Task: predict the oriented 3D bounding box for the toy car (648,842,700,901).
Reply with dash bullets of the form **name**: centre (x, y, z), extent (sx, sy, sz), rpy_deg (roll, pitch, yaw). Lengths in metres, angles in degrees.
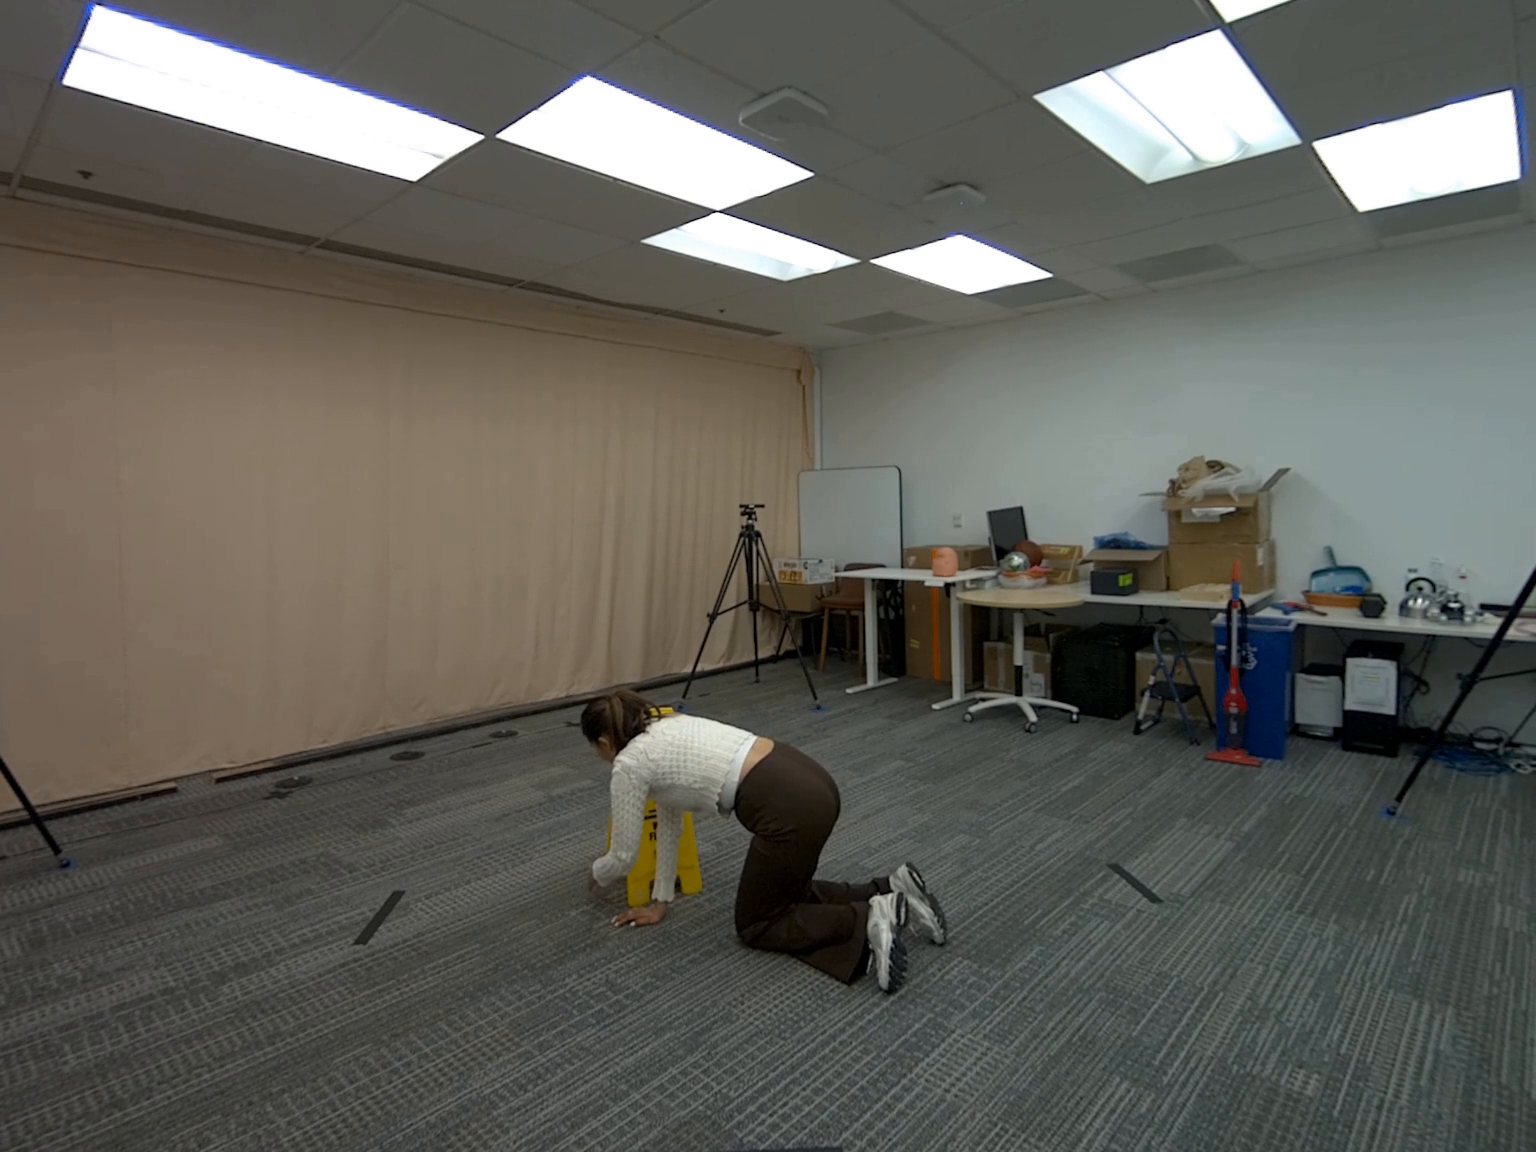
- **toy car**: centre (-0.352, 1.099, 3.178), extent (0.132, 0.083, 0.253), rpy_deg (2, 11, 9)
